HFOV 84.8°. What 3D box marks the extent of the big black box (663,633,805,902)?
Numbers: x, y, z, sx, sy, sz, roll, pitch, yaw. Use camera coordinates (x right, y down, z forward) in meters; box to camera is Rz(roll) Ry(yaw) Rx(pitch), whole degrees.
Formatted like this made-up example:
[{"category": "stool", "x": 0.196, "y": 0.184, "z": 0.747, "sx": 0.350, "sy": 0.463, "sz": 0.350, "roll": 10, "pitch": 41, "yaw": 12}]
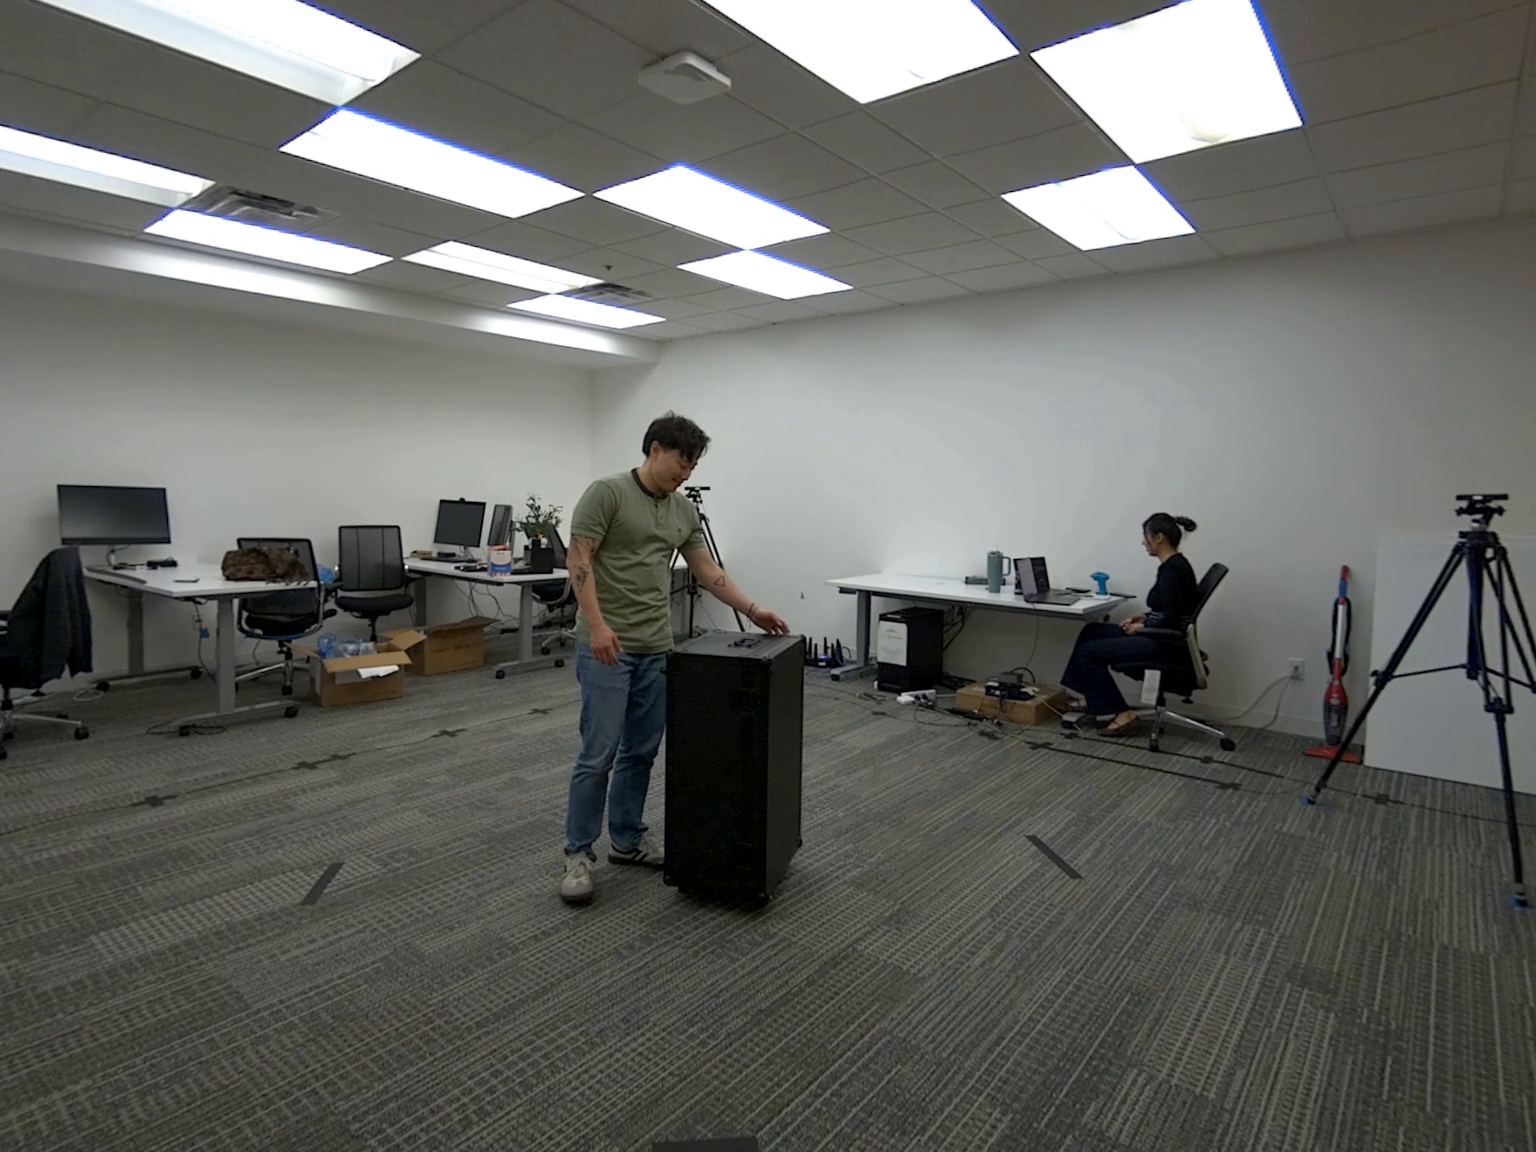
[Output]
[{"category": "big black box", "x": -0.125, "y": 0.652, "z": 2.964, "sx": 0.404, "sy": 0.859, "sz": 0.512, "roll": 1, "pitch": 3, "yaw": 18}]
